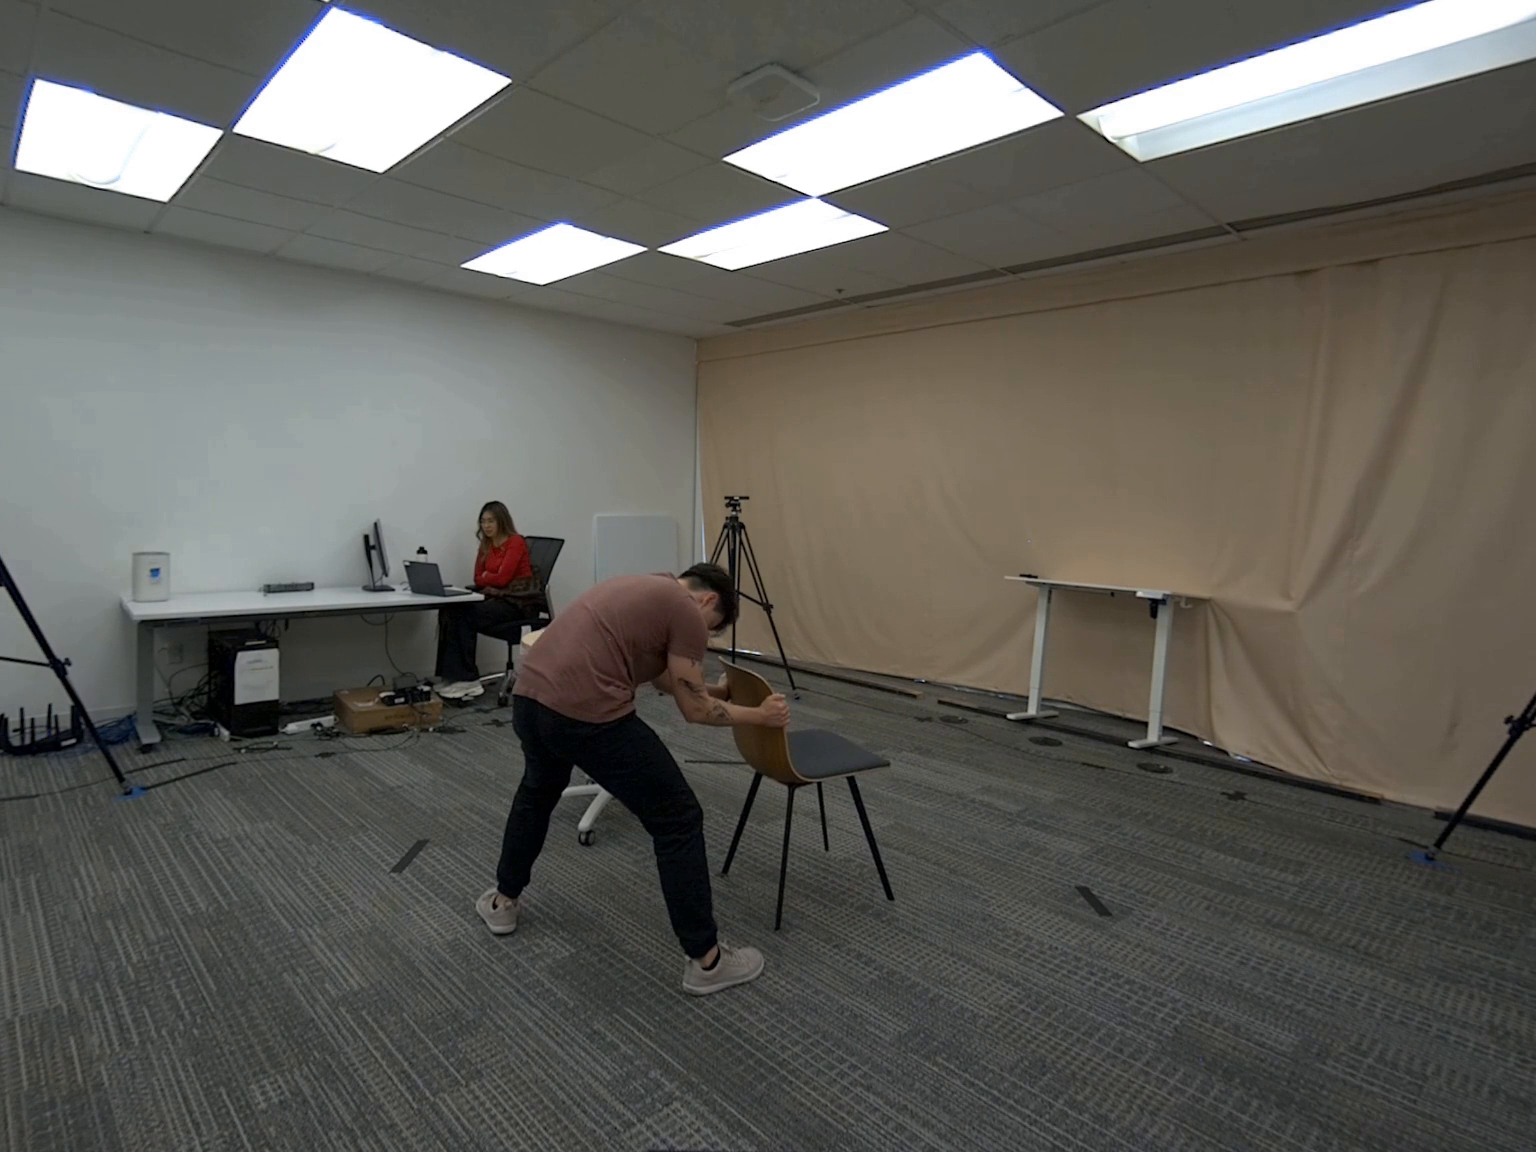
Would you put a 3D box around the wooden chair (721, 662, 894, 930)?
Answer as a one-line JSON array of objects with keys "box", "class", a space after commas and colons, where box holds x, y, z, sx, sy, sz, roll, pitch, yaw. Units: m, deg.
[{"box": [0.121, 0.683, 2.971, 0.515, 0.873, 0.488, -8, 6, -25], "class": "wooden chair"}]
